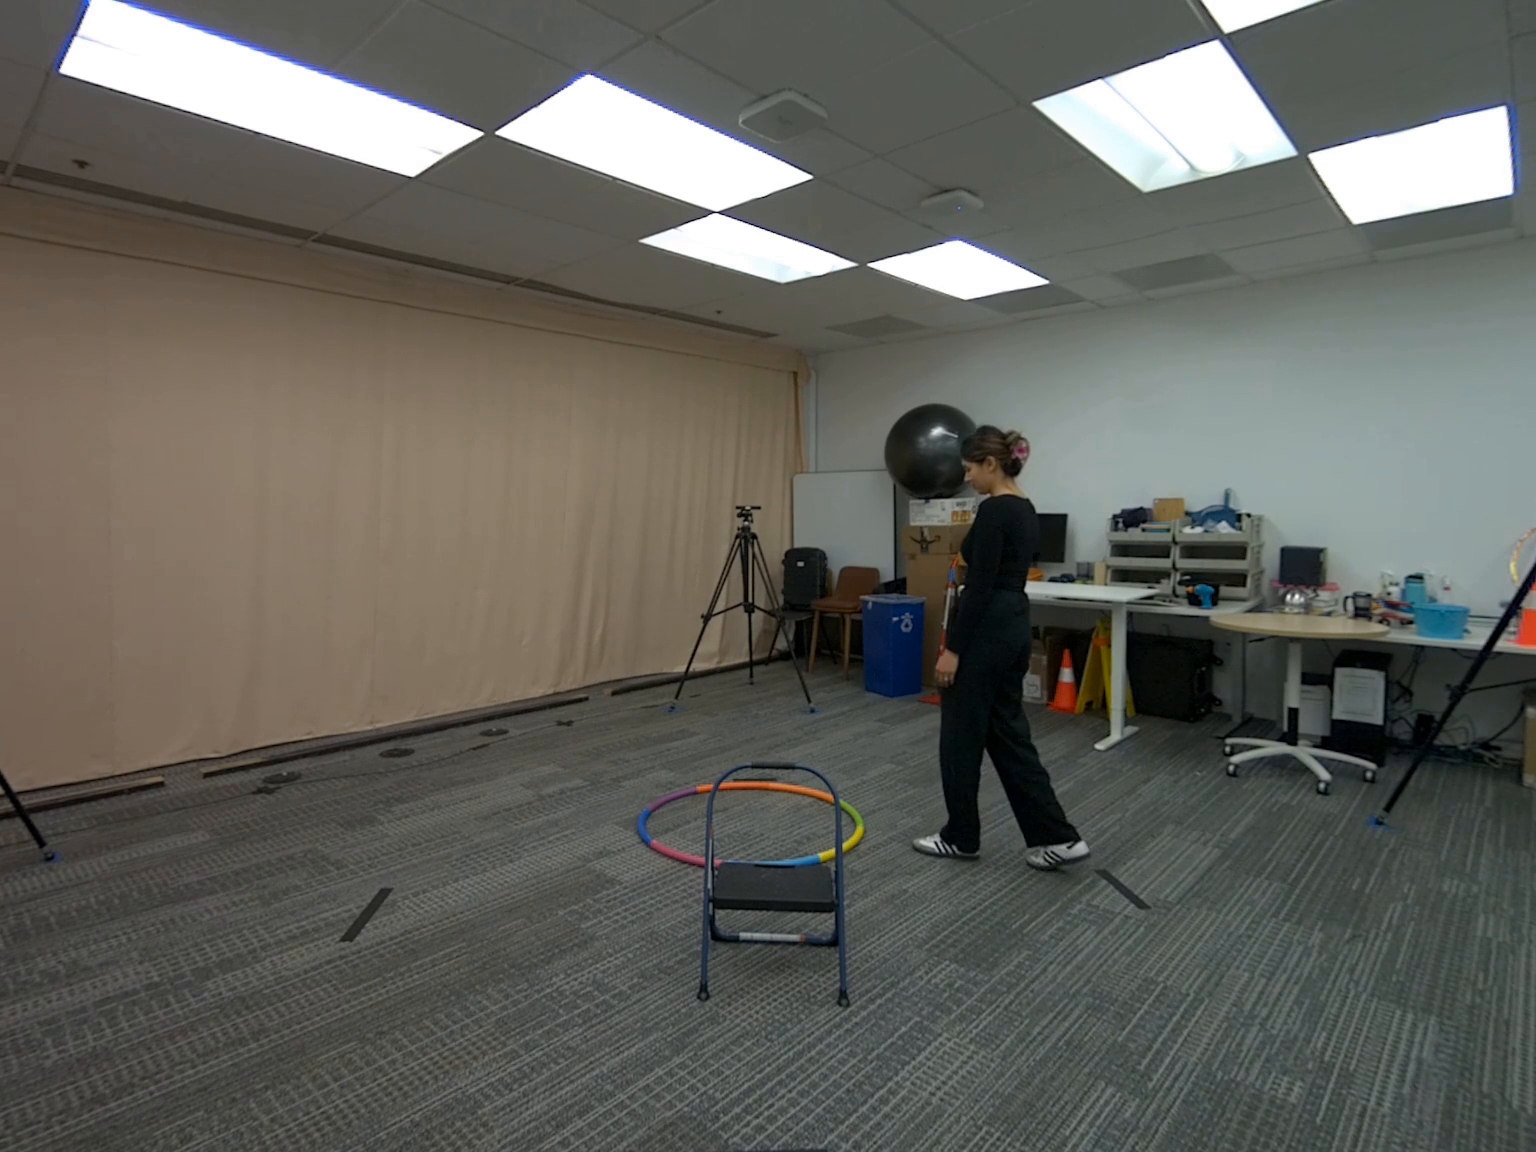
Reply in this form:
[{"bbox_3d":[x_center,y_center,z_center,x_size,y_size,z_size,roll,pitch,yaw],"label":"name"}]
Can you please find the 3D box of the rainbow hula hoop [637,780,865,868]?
[{"bbox_3d":[-0.078,1.050,3.671,0.978,0.035,0.982,-1,4,-2],"label":"rainbow hula hoop"}]
